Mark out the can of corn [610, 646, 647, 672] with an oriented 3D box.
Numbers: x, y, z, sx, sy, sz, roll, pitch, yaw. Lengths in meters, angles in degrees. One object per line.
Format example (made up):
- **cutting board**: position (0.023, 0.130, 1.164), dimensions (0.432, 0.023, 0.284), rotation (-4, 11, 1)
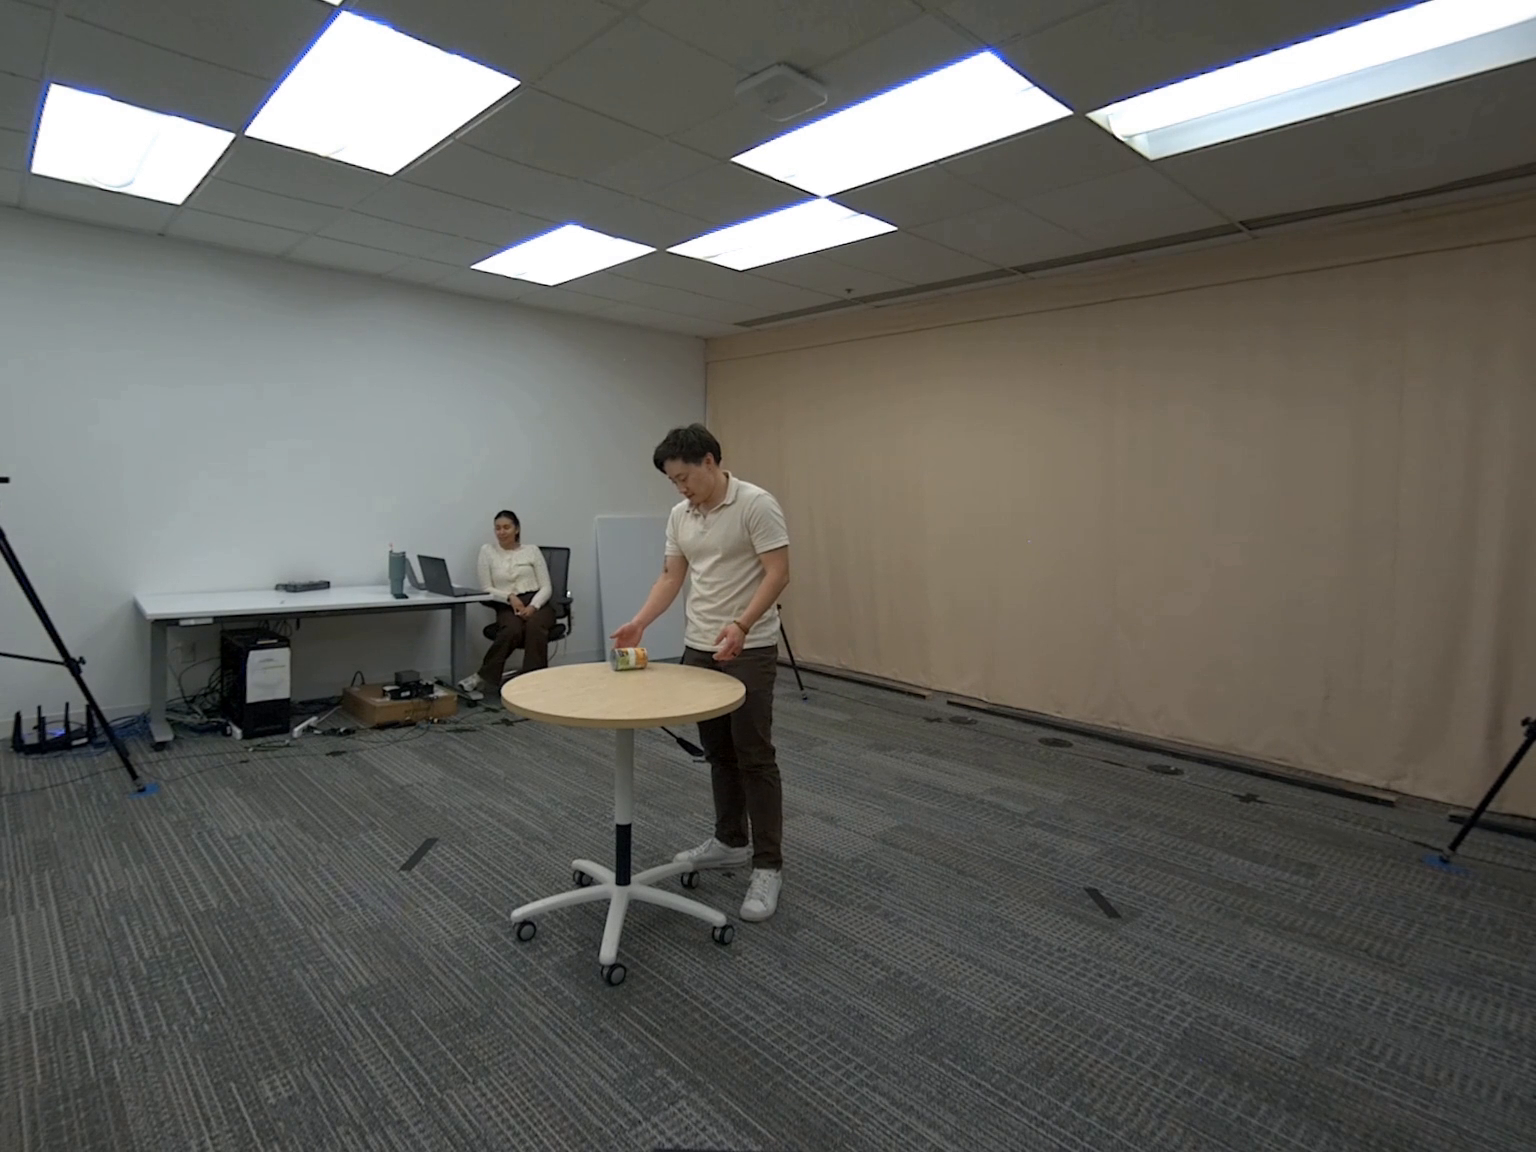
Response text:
- **can of corn**: position (-0.492, 0.288, 2.928), dimensions (0.109, 0.074, 0.076), rotation (-2, 5, -24)
